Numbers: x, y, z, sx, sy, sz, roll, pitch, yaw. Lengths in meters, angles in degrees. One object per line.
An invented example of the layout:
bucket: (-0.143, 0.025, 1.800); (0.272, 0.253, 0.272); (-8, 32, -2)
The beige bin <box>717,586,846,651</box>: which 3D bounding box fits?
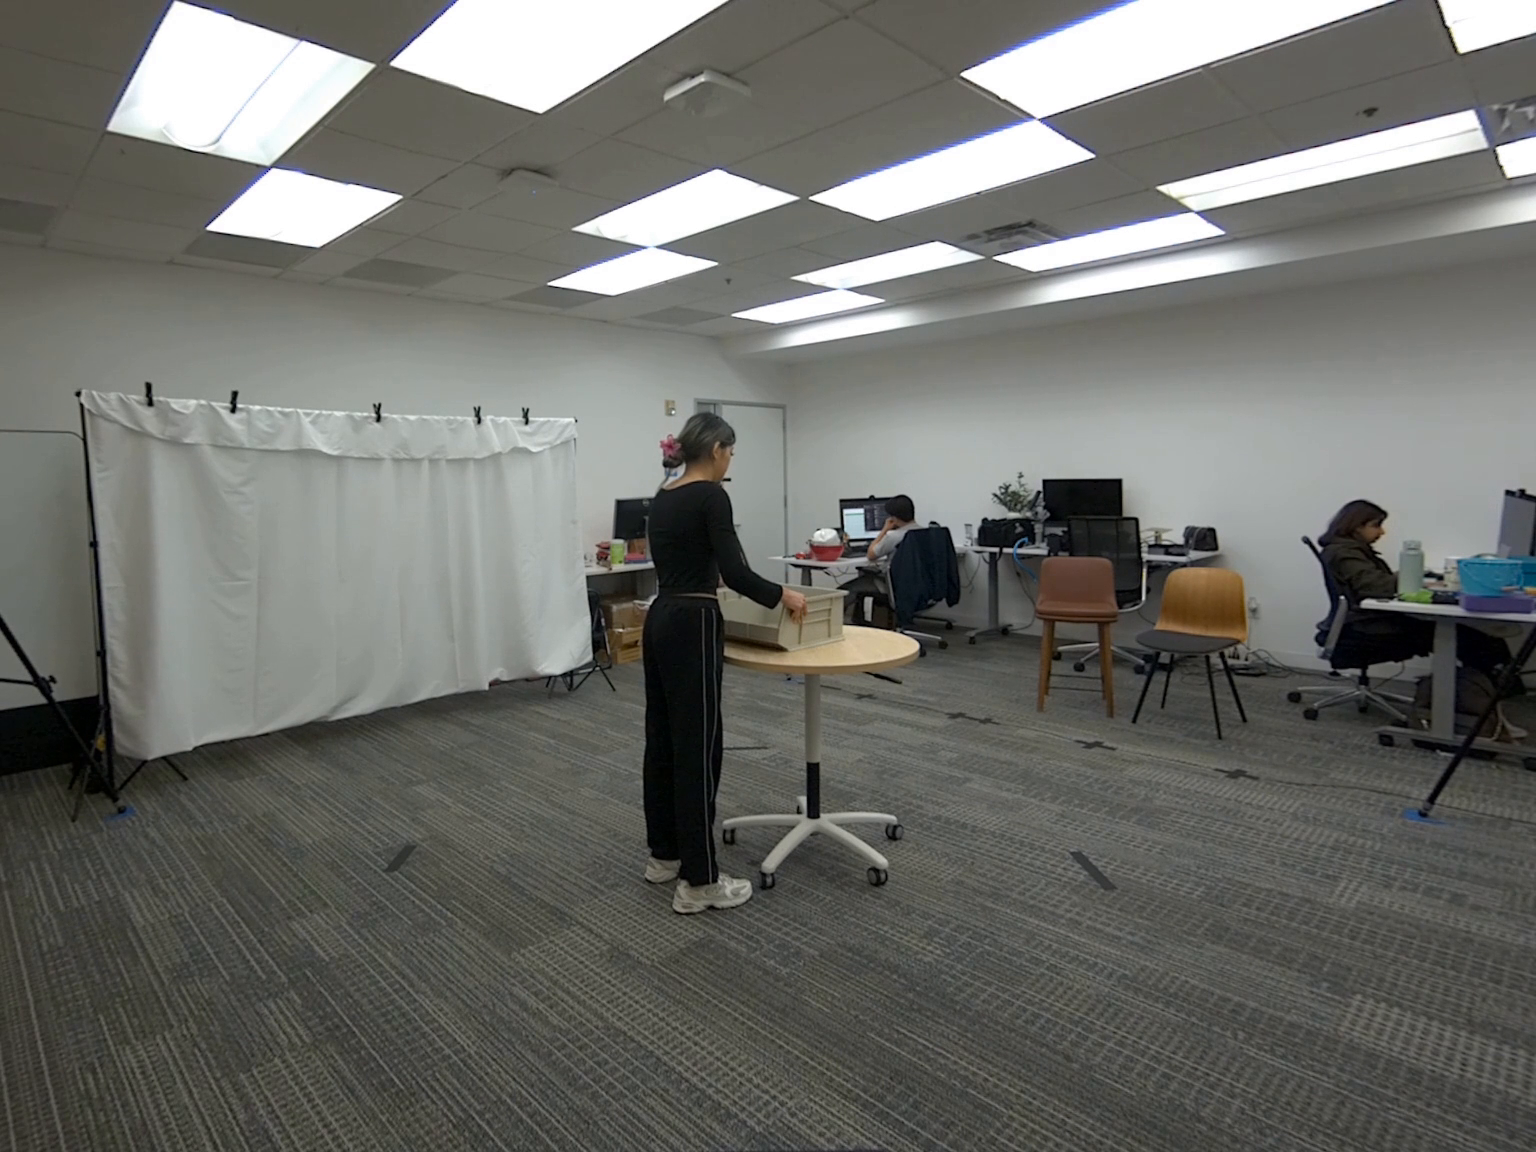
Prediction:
beige bin: (0.016, 0.144, 3.189); (0.367, 0.188, 0.435); (-3, 5, -44)
